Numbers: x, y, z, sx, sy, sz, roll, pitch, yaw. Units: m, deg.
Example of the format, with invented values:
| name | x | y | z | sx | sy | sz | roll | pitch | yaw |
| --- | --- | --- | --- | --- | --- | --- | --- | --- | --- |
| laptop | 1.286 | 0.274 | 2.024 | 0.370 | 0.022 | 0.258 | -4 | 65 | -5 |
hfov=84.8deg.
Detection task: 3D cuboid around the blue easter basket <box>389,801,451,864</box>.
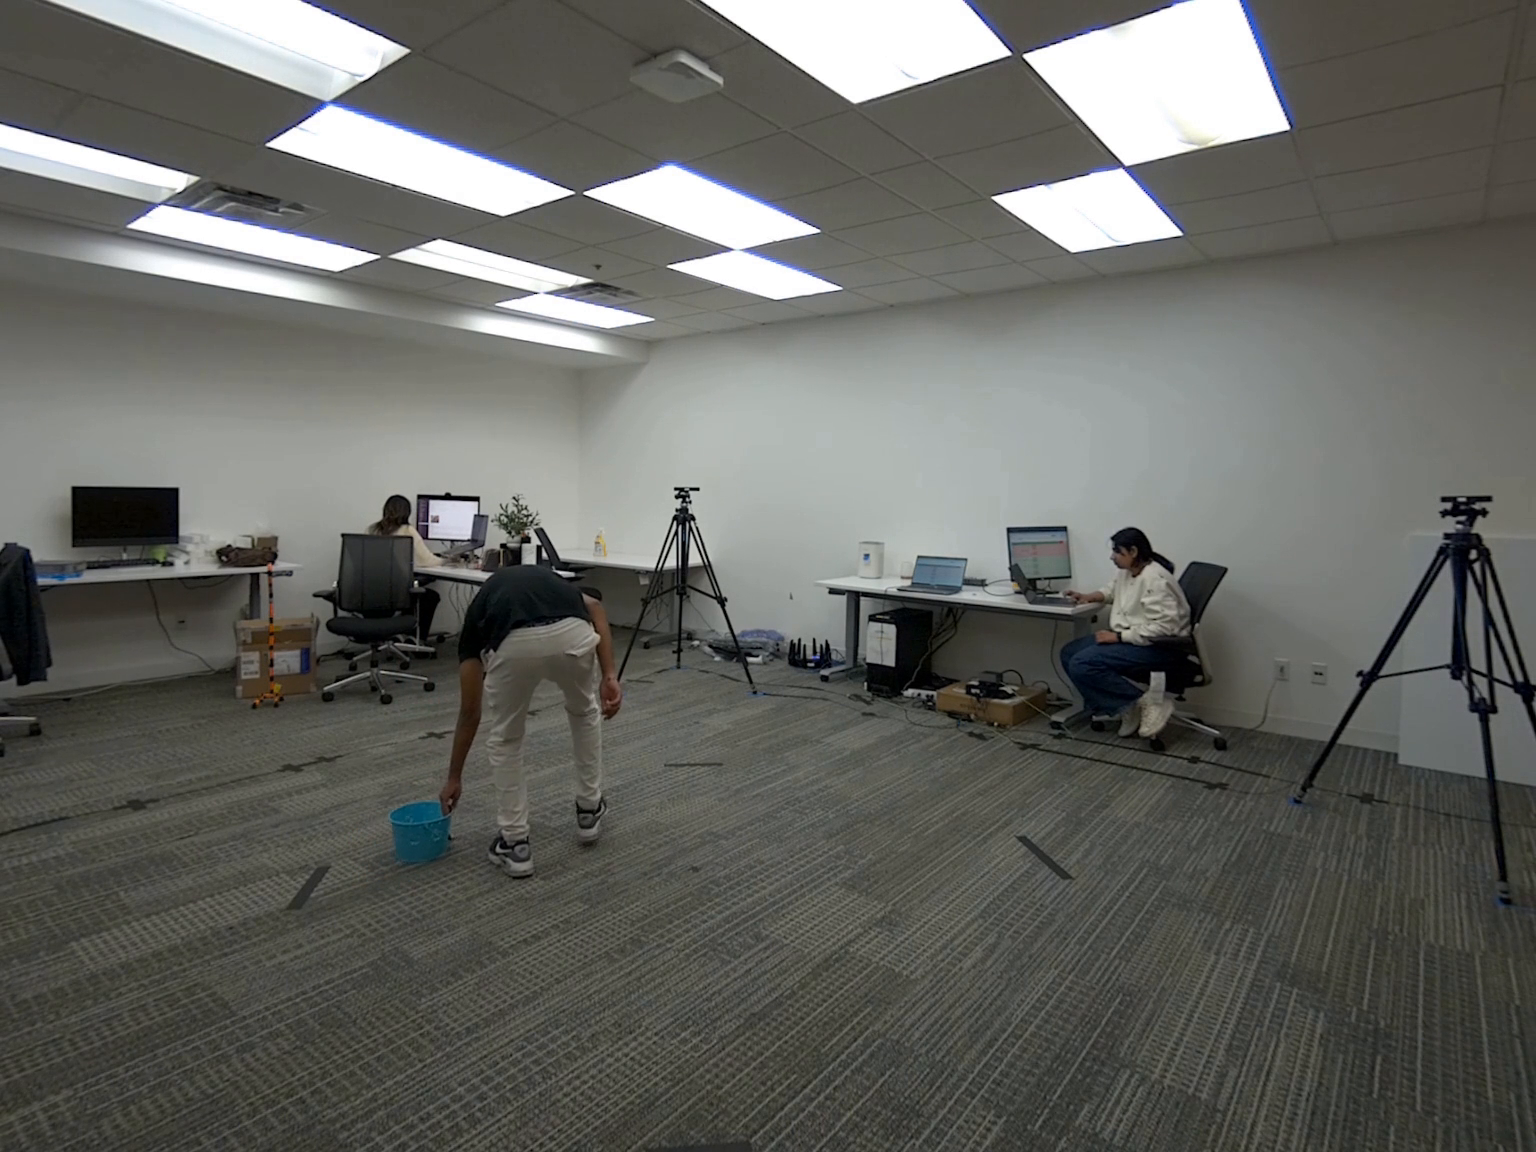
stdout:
| name | x | y | z | sx | sy | sz | roll | pitch | yaw |
| --- | --- | --- | --- | --- | --- | --- | --- | --- | --- |
| blue easter basket | -1.319 | 0.966 | 3.211 | 0.243 | 0.155 | 0.245 | 1 | 5 | -2 |
